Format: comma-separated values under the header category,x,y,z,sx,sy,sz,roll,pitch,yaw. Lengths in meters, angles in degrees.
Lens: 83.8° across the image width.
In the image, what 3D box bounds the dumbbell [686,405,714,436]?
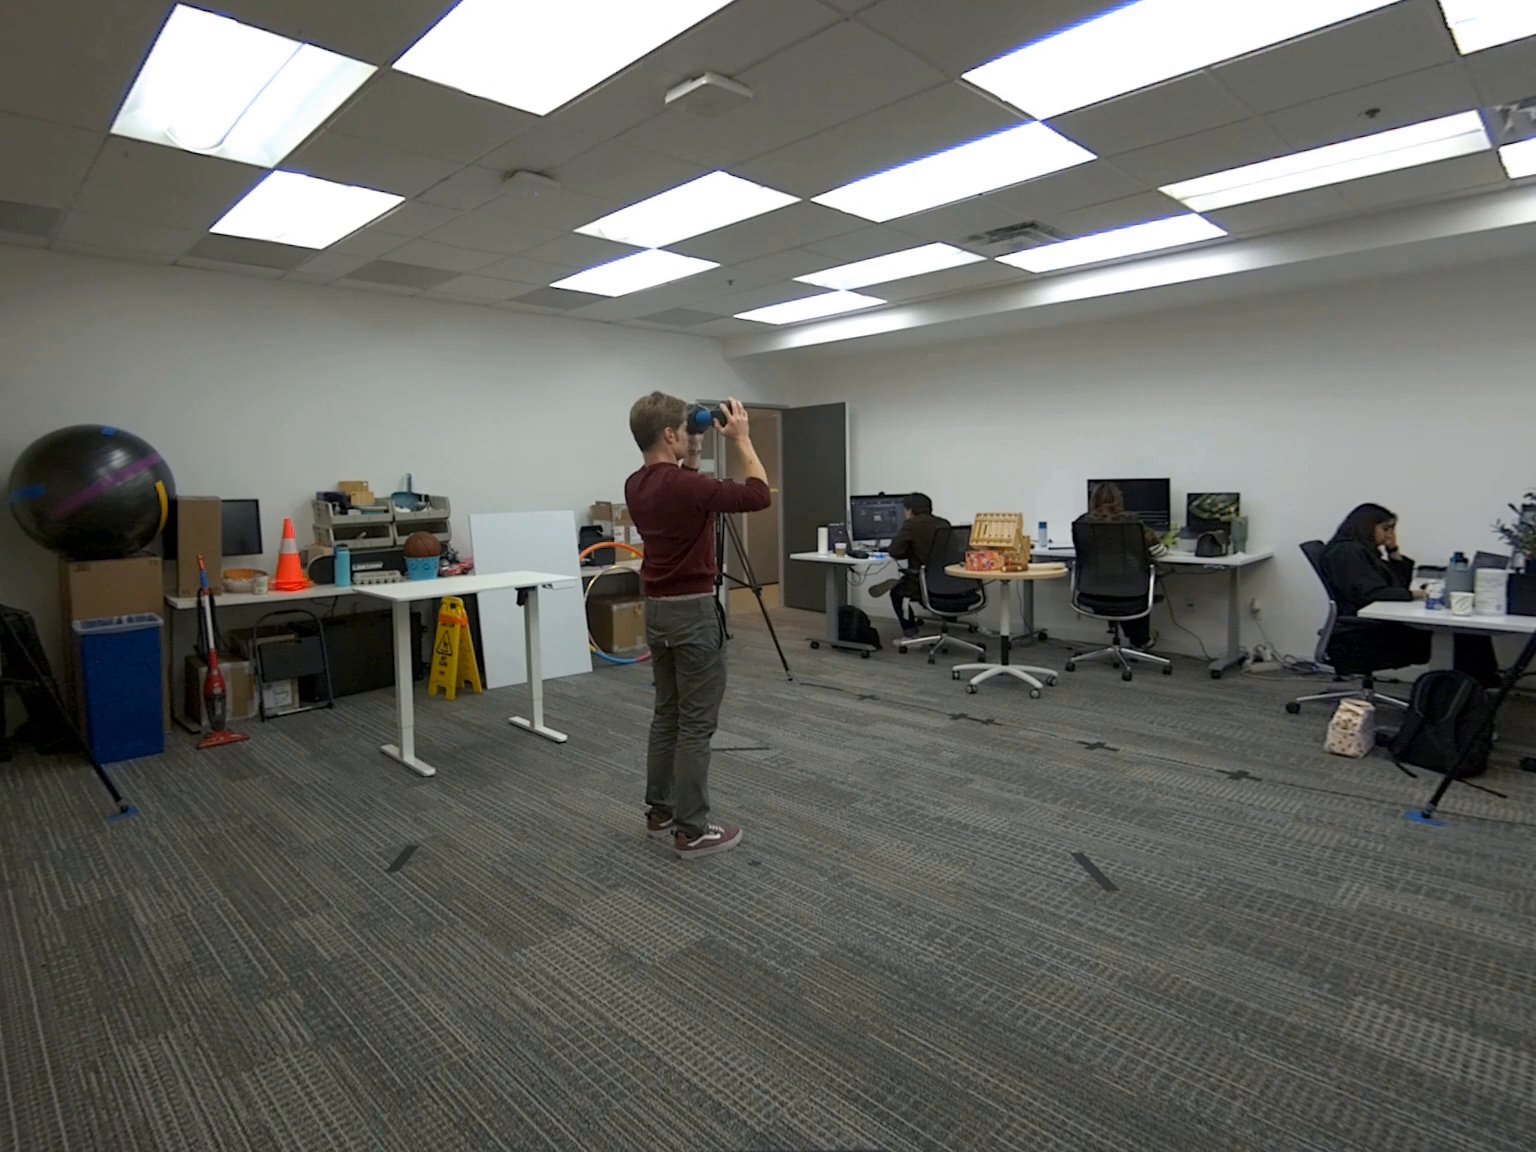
category,x,y,z,sx,sy,sz,roll,pitch,yaw
dumbbell,-0.226,-0.615,3.304,0.107,0.121,0.303,-19,18,-32
